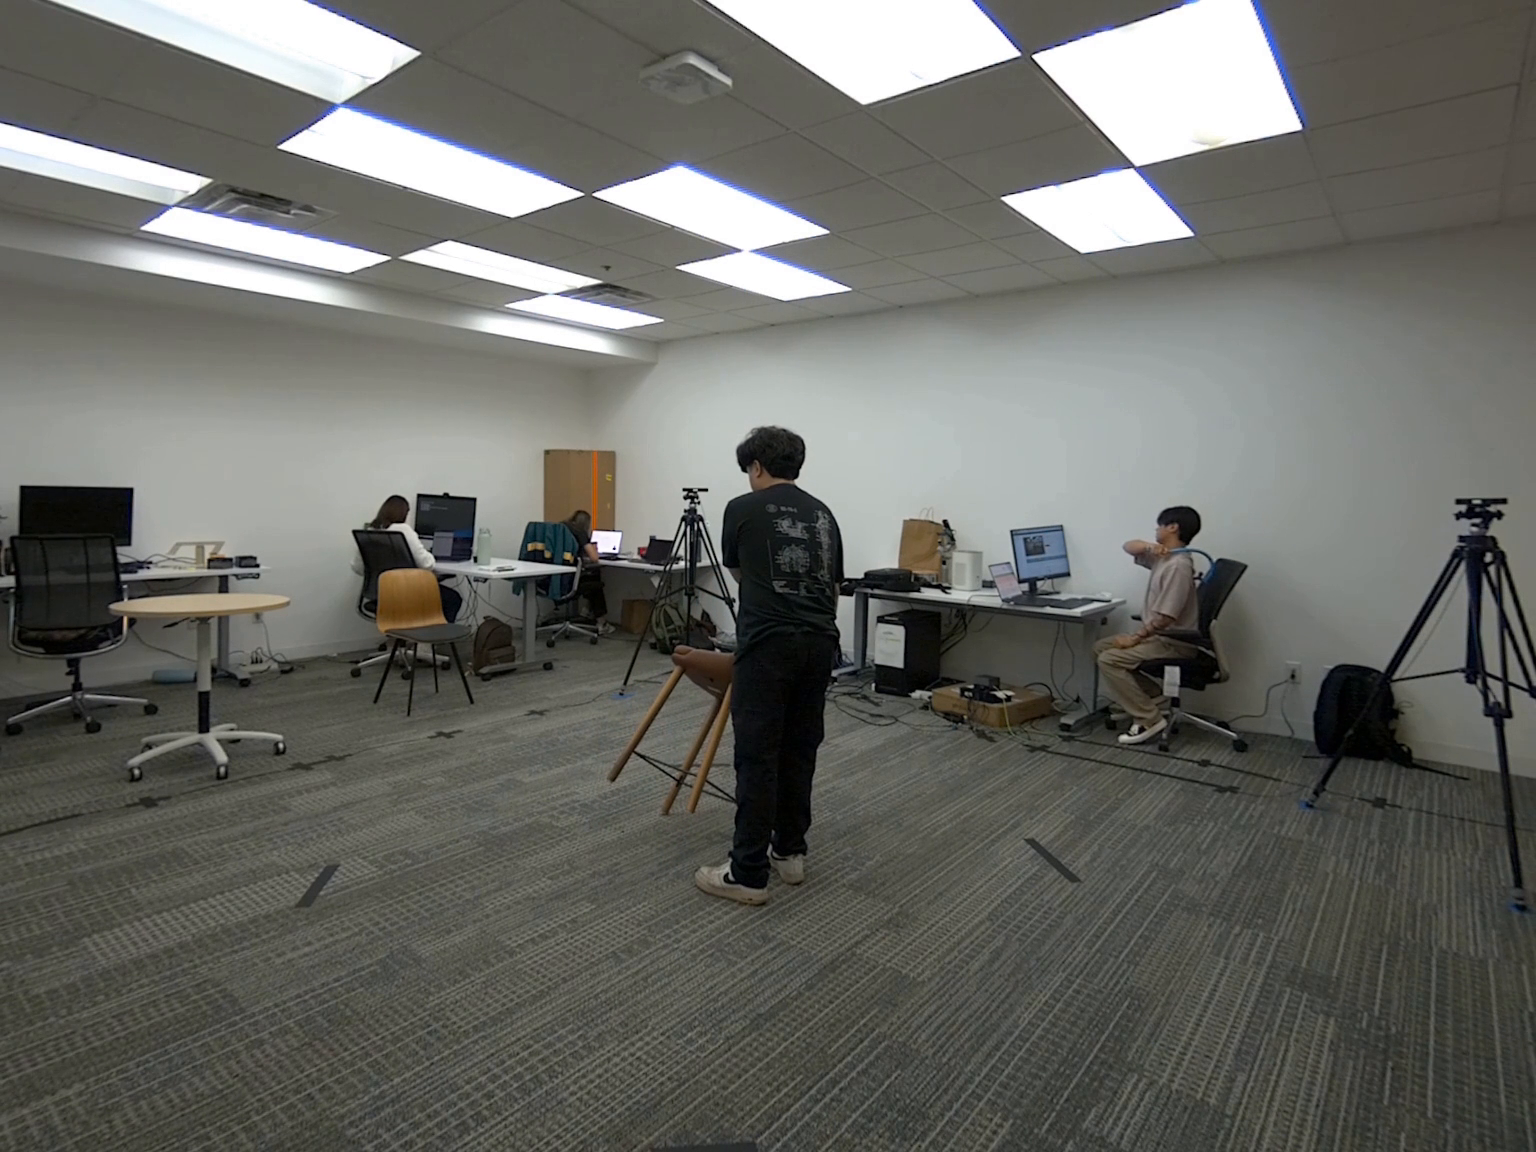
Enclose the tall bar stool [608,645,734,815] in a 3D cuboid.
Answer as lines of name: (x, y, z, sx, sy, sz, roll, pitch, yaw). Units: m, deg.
tall bar stool: (-0.209, 0.561, 3.529, 0.484, 0.896, 0.437, 8, -27, 40)
